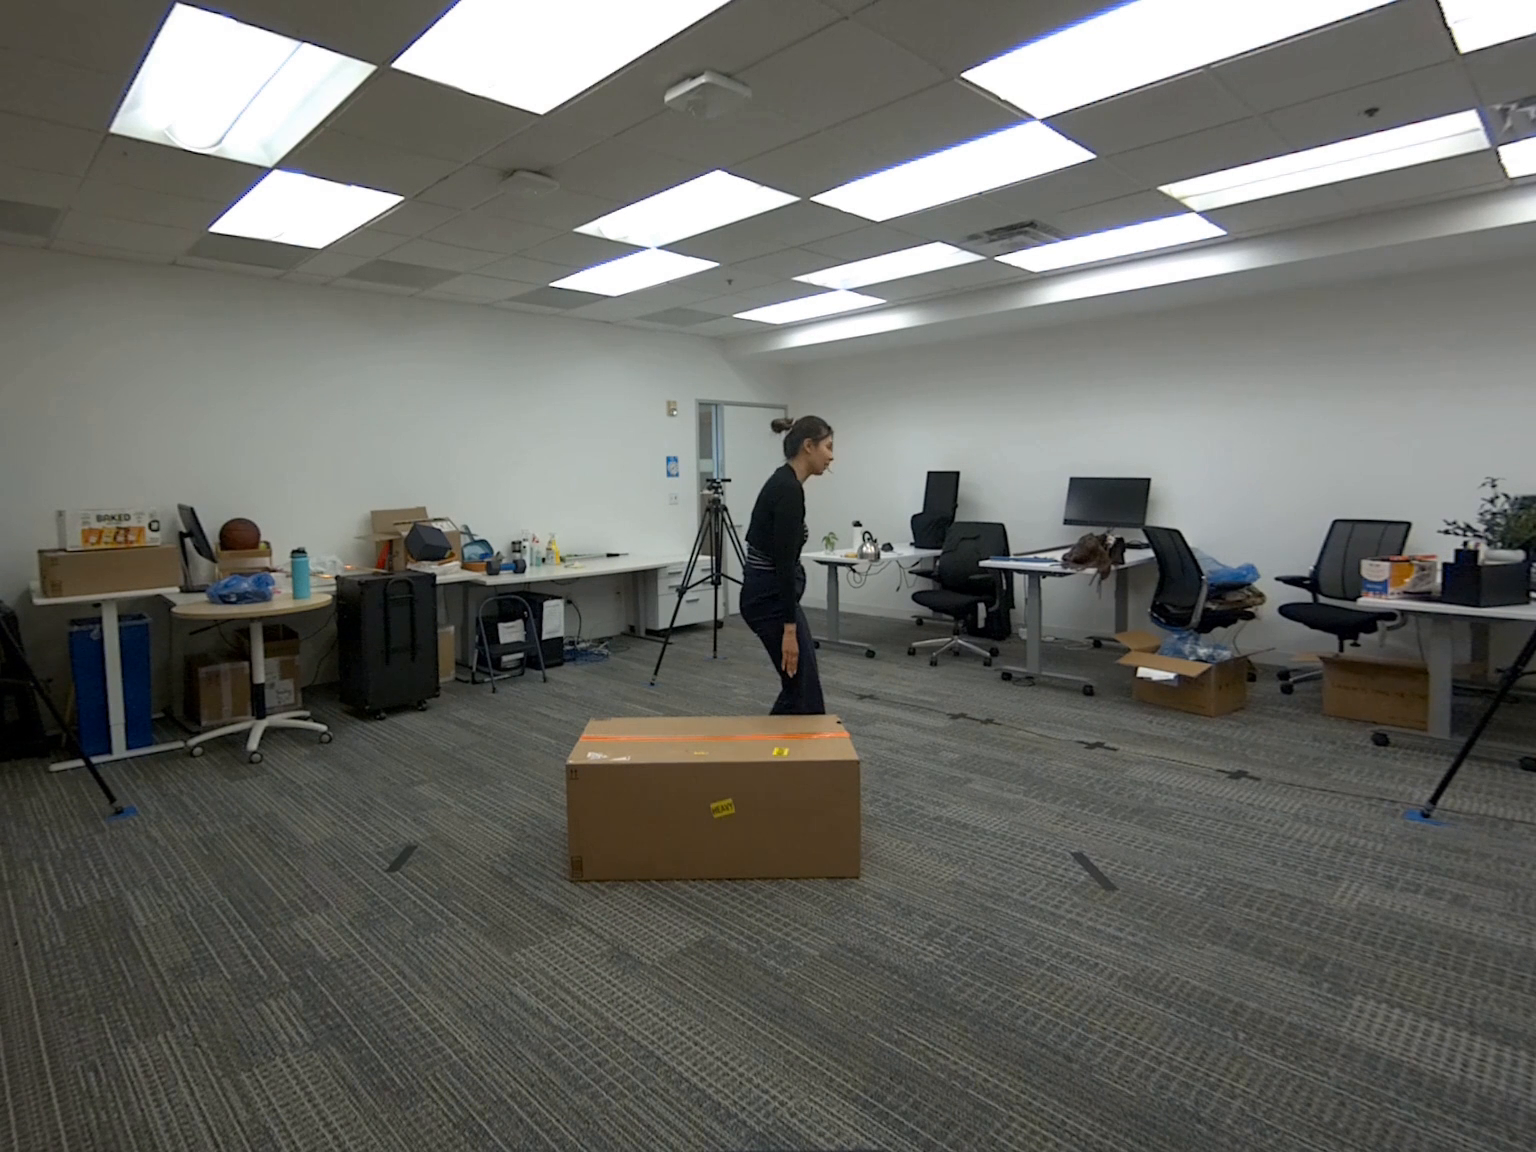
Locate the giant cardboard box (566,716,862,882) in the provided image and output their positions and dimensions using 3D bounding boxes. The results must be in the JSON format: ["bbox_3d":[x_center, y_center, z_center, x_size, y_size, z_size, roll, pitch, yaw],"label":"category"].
[{"bbox_3d":[-0.209,0.817,3.252,1.026,0.424,0.580,-1,6,0],"label":"giant cardboard box"}]
